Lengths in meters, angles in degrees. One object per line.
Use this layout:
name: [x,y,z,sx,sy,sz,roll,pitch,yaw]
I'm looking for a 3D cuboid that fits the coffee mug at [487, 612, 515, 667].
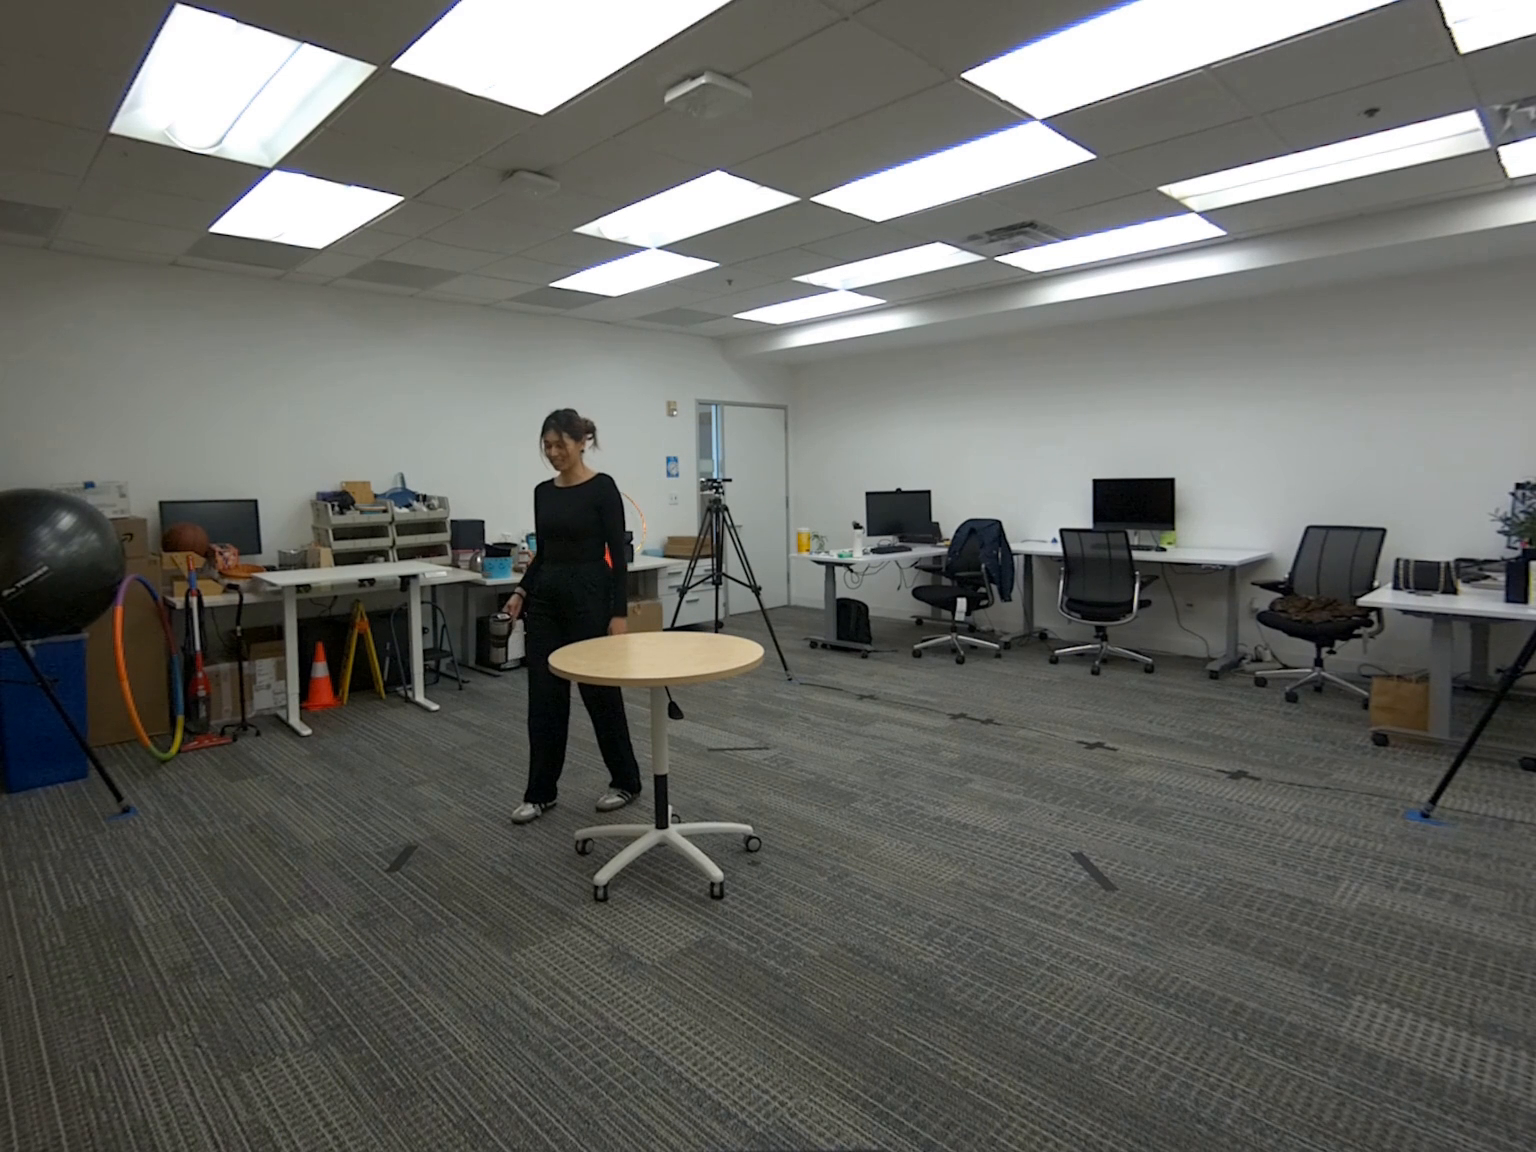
coffee mug: [-1.085,0.263,3.515,0.124,0.201,0.087,9,12,17]
